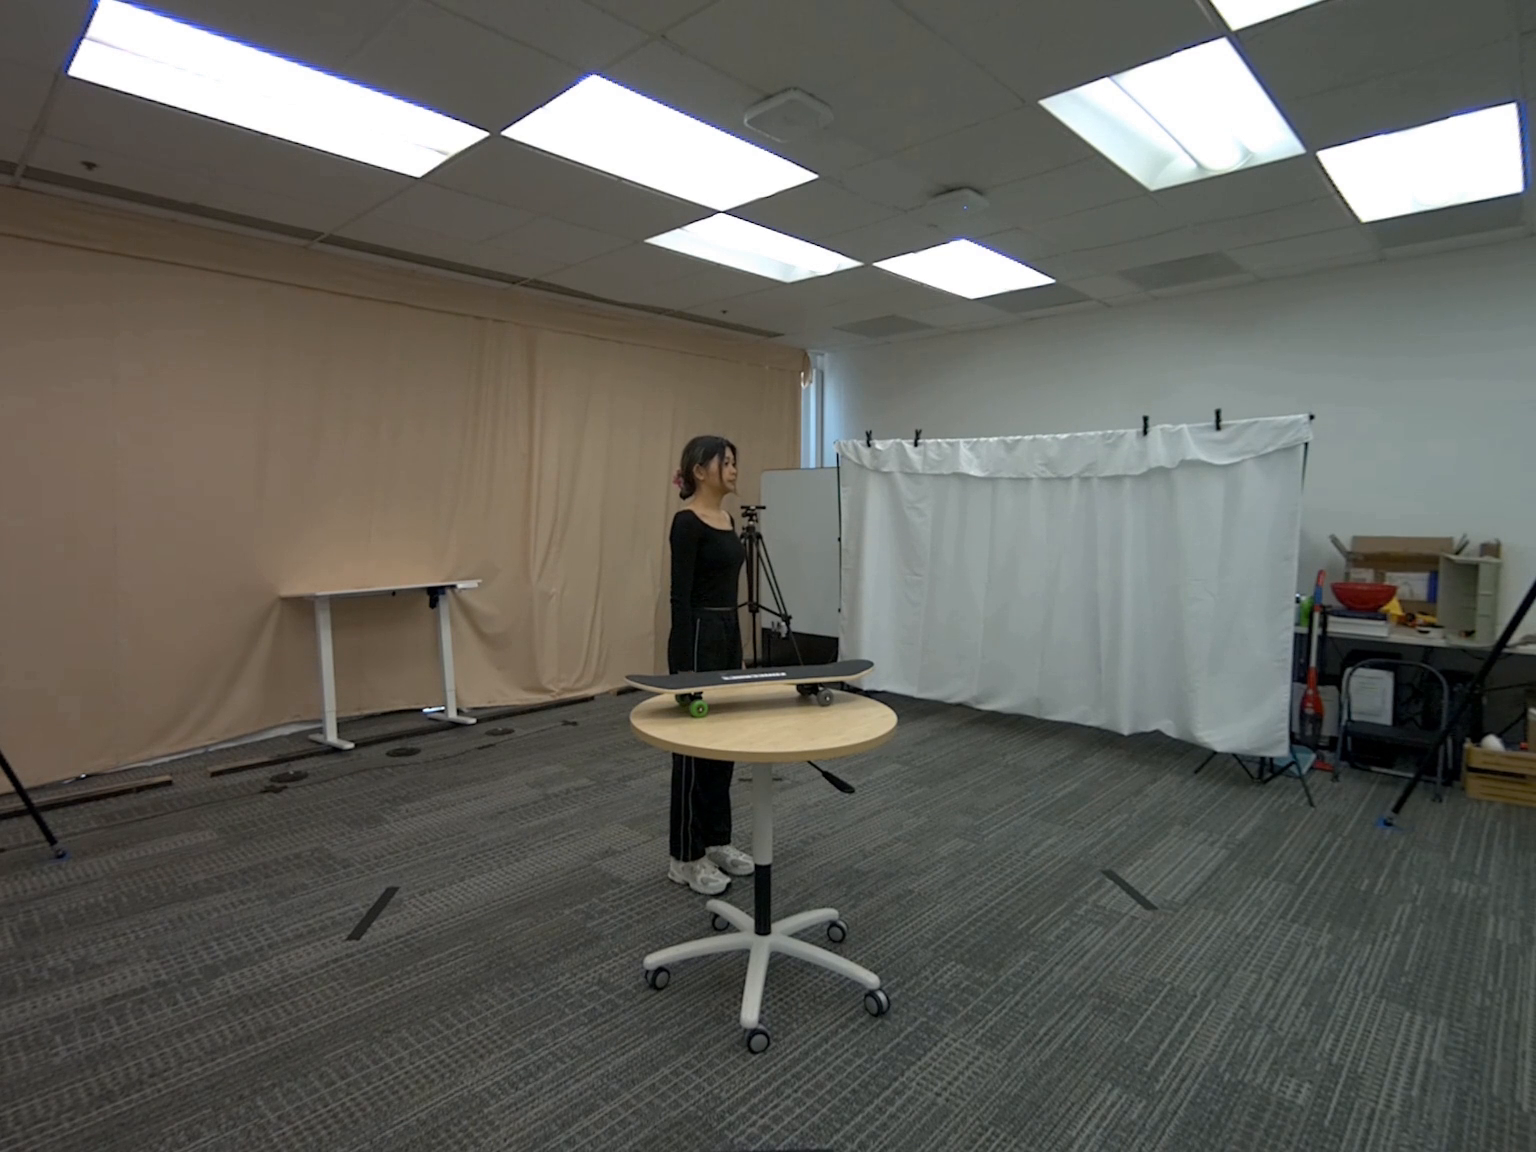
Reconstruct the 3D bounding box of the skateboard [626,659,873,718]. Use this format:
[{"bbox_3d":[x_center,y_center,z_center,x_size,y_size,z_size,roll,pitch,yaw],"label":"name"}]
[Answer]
[{"bbox_3d":[-0.036,0.340,2.523,0.771,0.110,0.197,-2,5,-18],"label":"skateboard"}]
